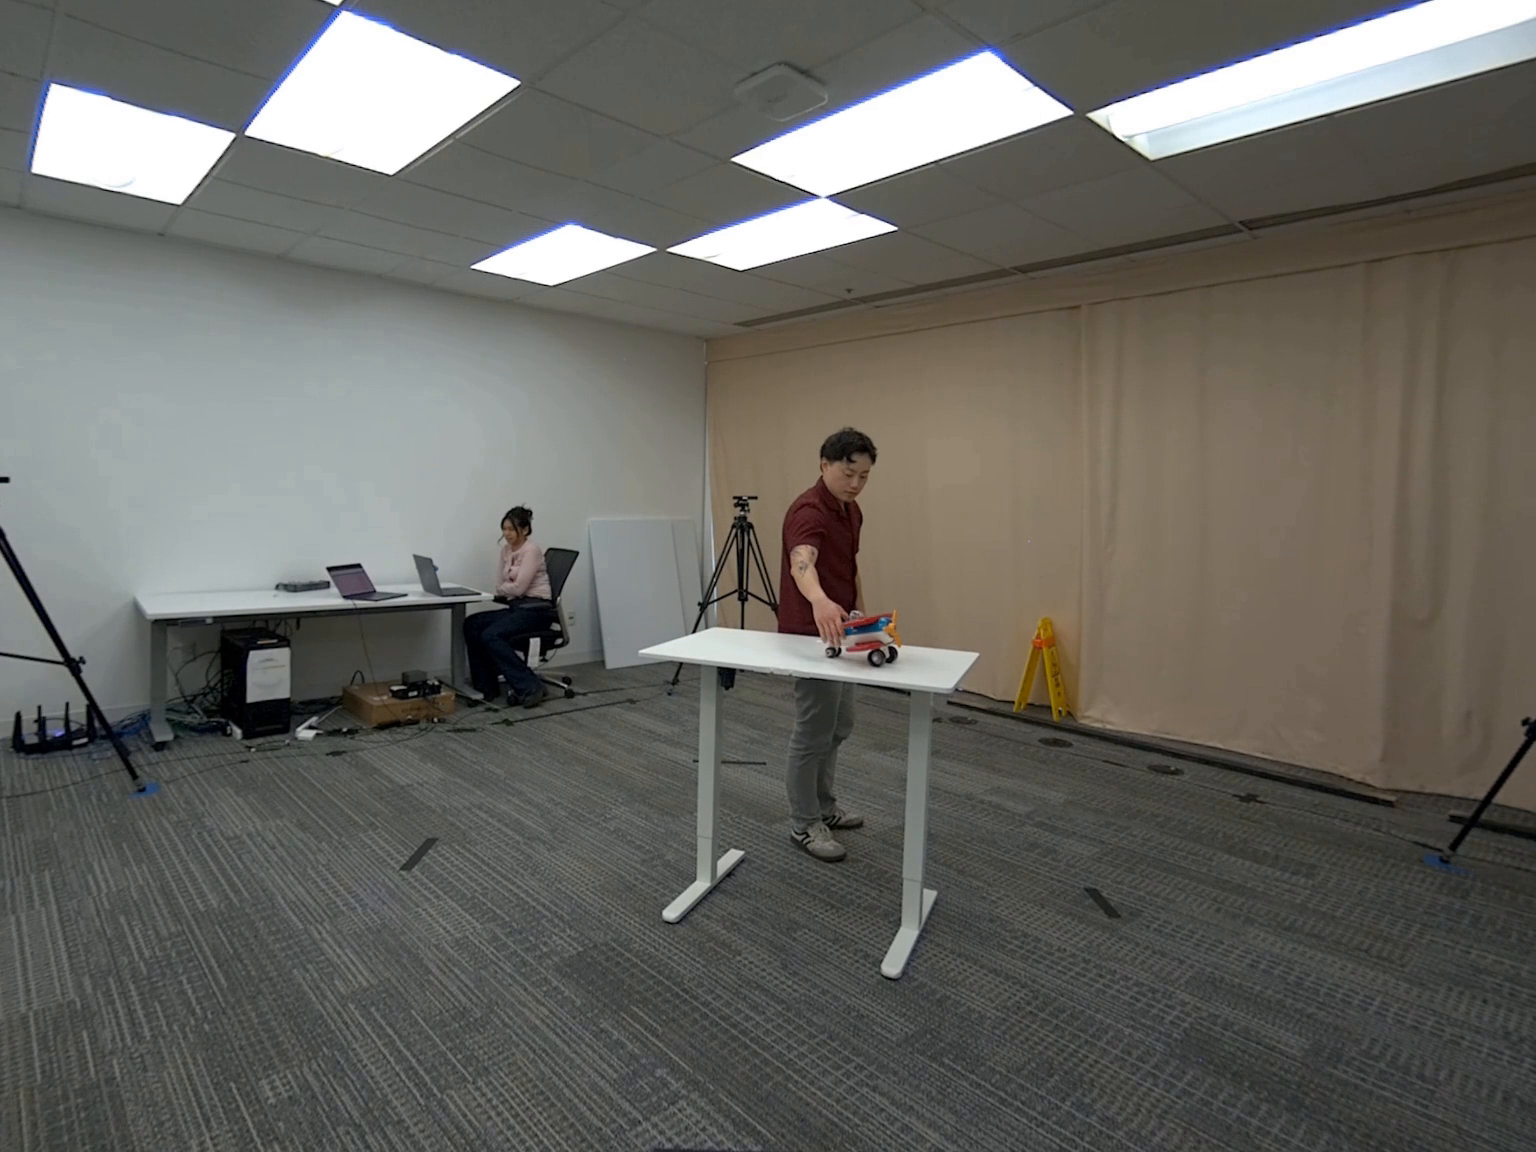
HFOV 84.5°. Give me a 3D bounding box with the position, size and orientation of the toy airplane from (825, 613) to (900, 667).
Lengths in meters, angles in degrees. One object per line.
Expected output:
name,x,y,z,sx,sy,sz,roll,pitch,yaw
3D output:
toy airplane,0.276,0.200,2.661,0.261,0.156,0.250,2,6,7
